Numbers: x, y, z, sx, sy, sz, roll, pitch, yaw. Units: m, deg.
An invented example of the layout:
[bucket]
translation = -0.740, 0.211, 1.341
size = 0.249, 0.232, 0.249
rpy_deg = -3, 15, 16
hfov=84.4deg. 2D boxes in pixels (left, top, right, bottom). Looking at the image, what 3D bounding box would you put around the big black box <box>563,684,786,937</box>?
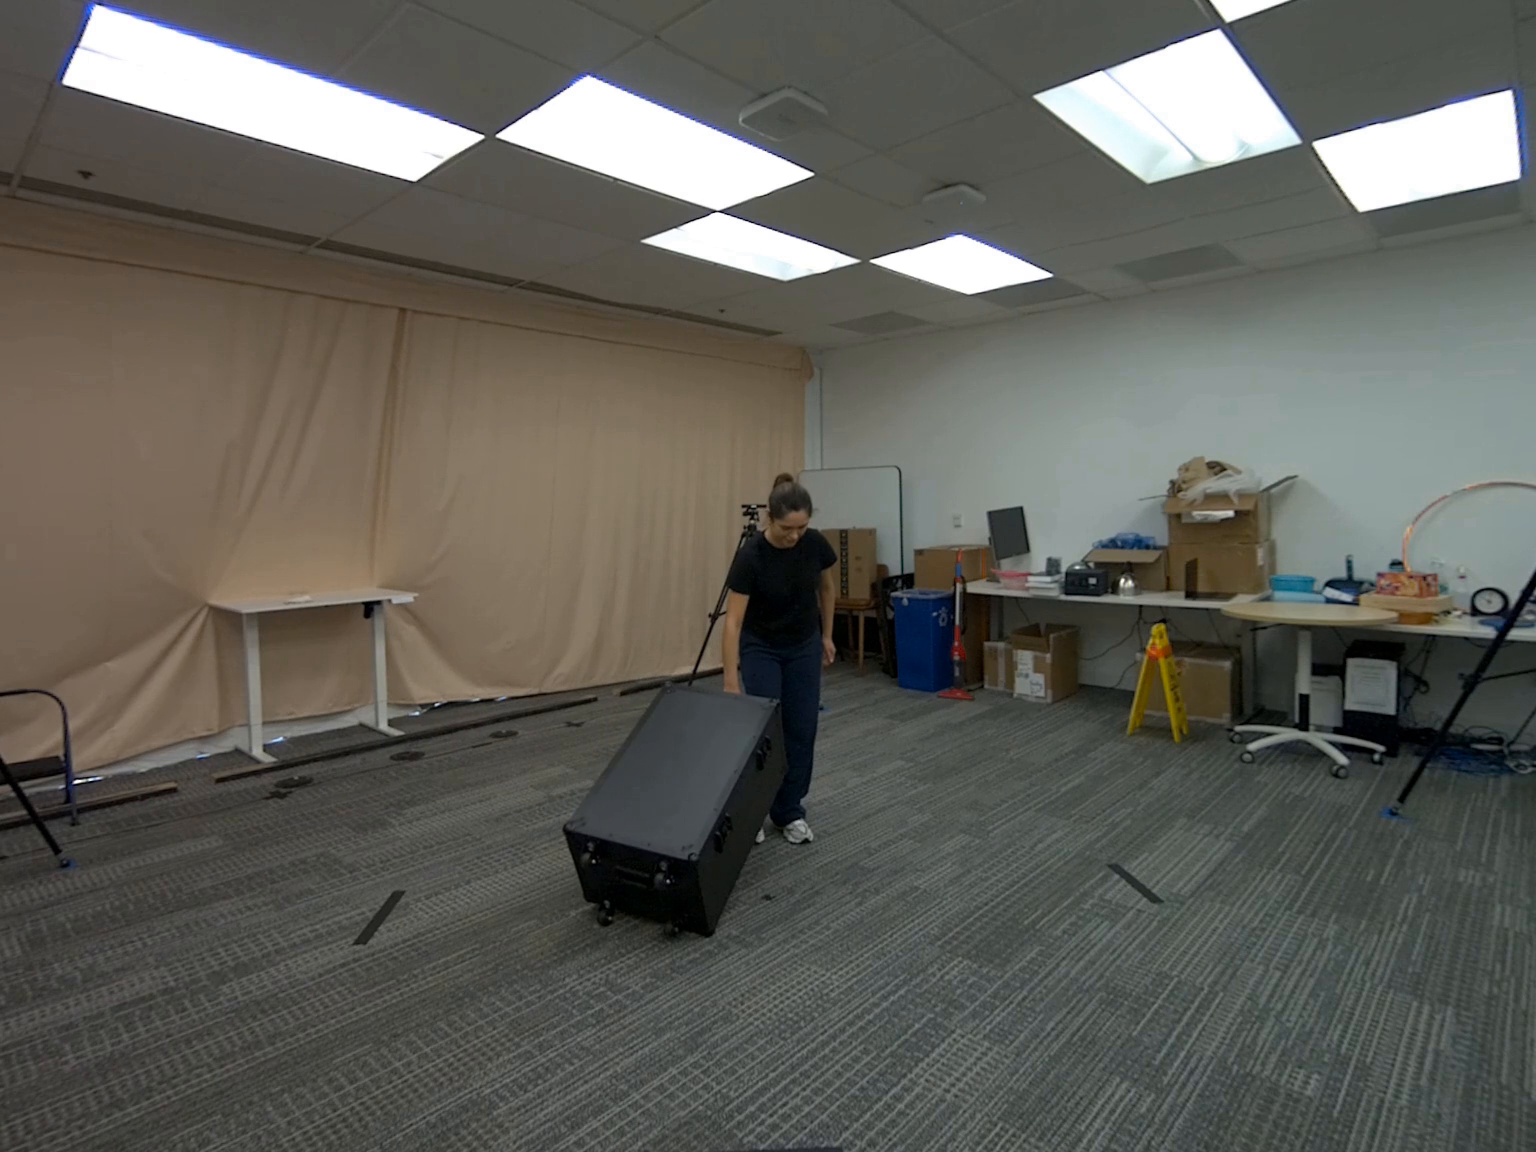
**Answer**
[big black box]
translation = -0.297, 0.819, 3.011
size = 0.534, 0.388, 0.858
rpy_deg = 4, 32, 22
